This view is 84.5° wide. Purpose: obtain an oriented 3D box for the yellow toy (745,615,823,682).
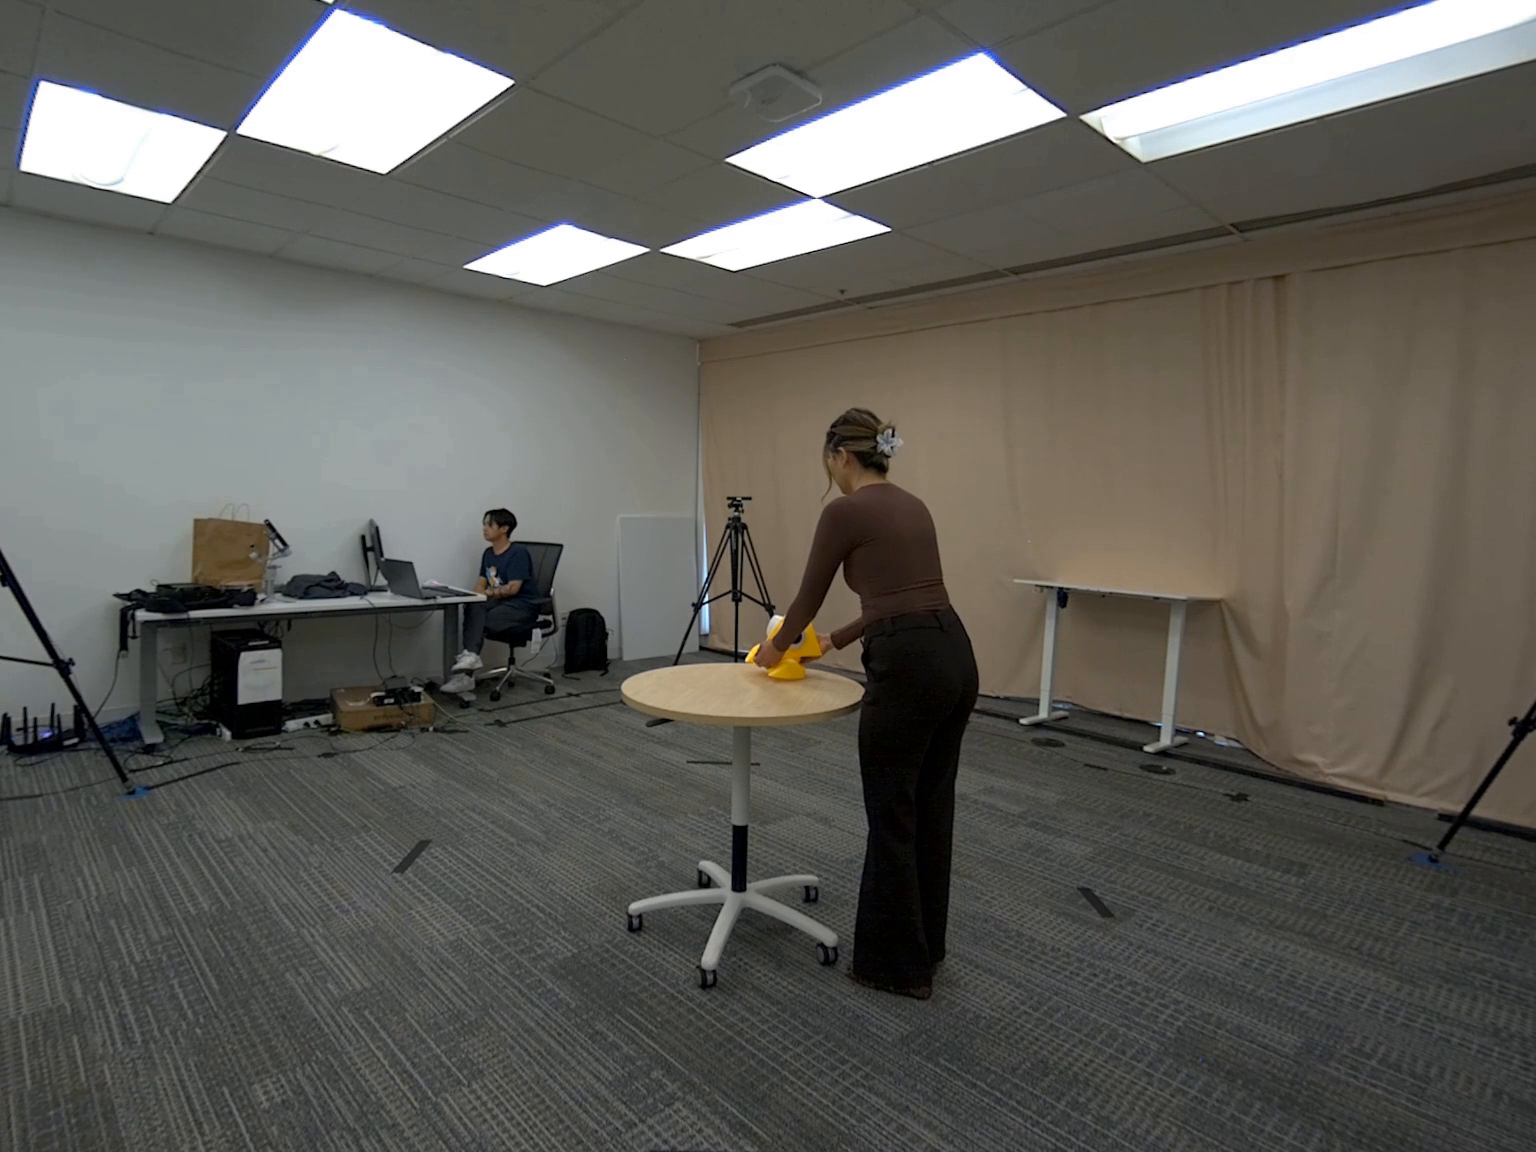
[{"bbox_3d":[0.056,0.200,2.819,0.188,0.229,0.211,2,14,-39],"label":"yellow toy"}]
